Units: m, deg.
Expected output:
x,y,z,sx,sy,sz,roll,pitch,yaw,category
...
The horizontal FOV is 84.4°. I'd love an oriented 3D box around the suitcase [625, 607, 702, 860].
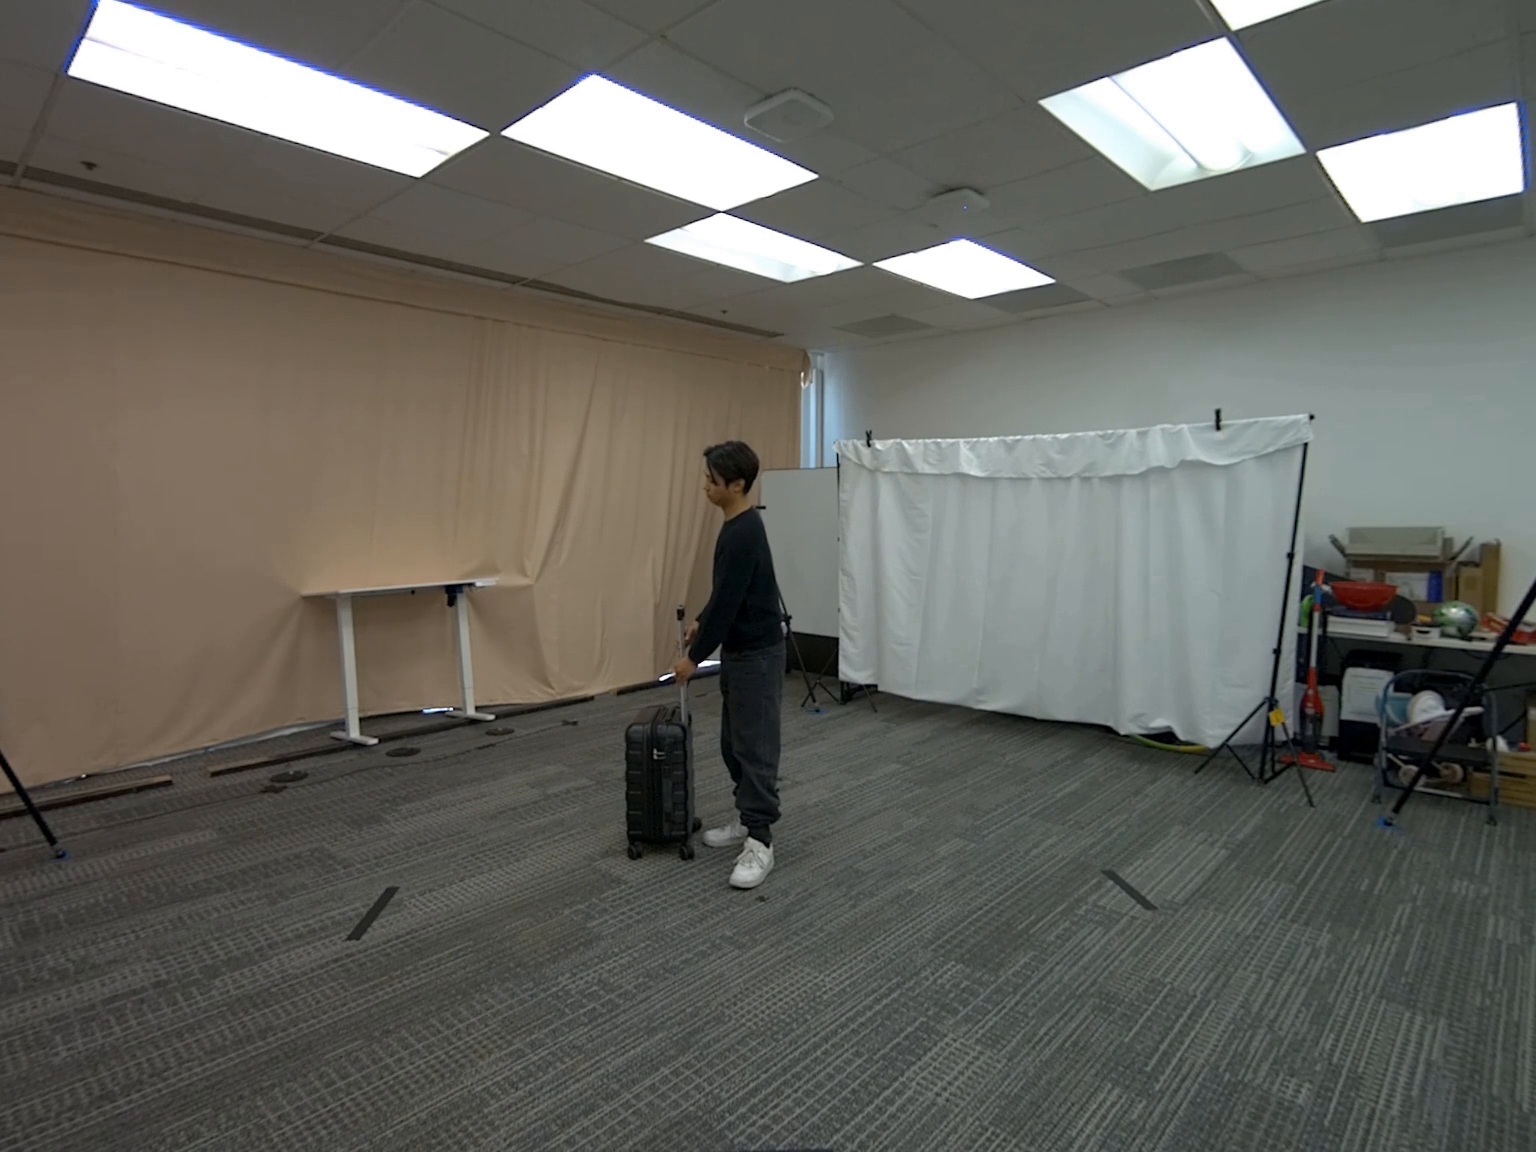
x,y,z,sx,sy,sz,roll,pitch,yaw,category
-0.444,0.631,3.480,0.257,0.978,0.384,-2,2,0,suitcase
